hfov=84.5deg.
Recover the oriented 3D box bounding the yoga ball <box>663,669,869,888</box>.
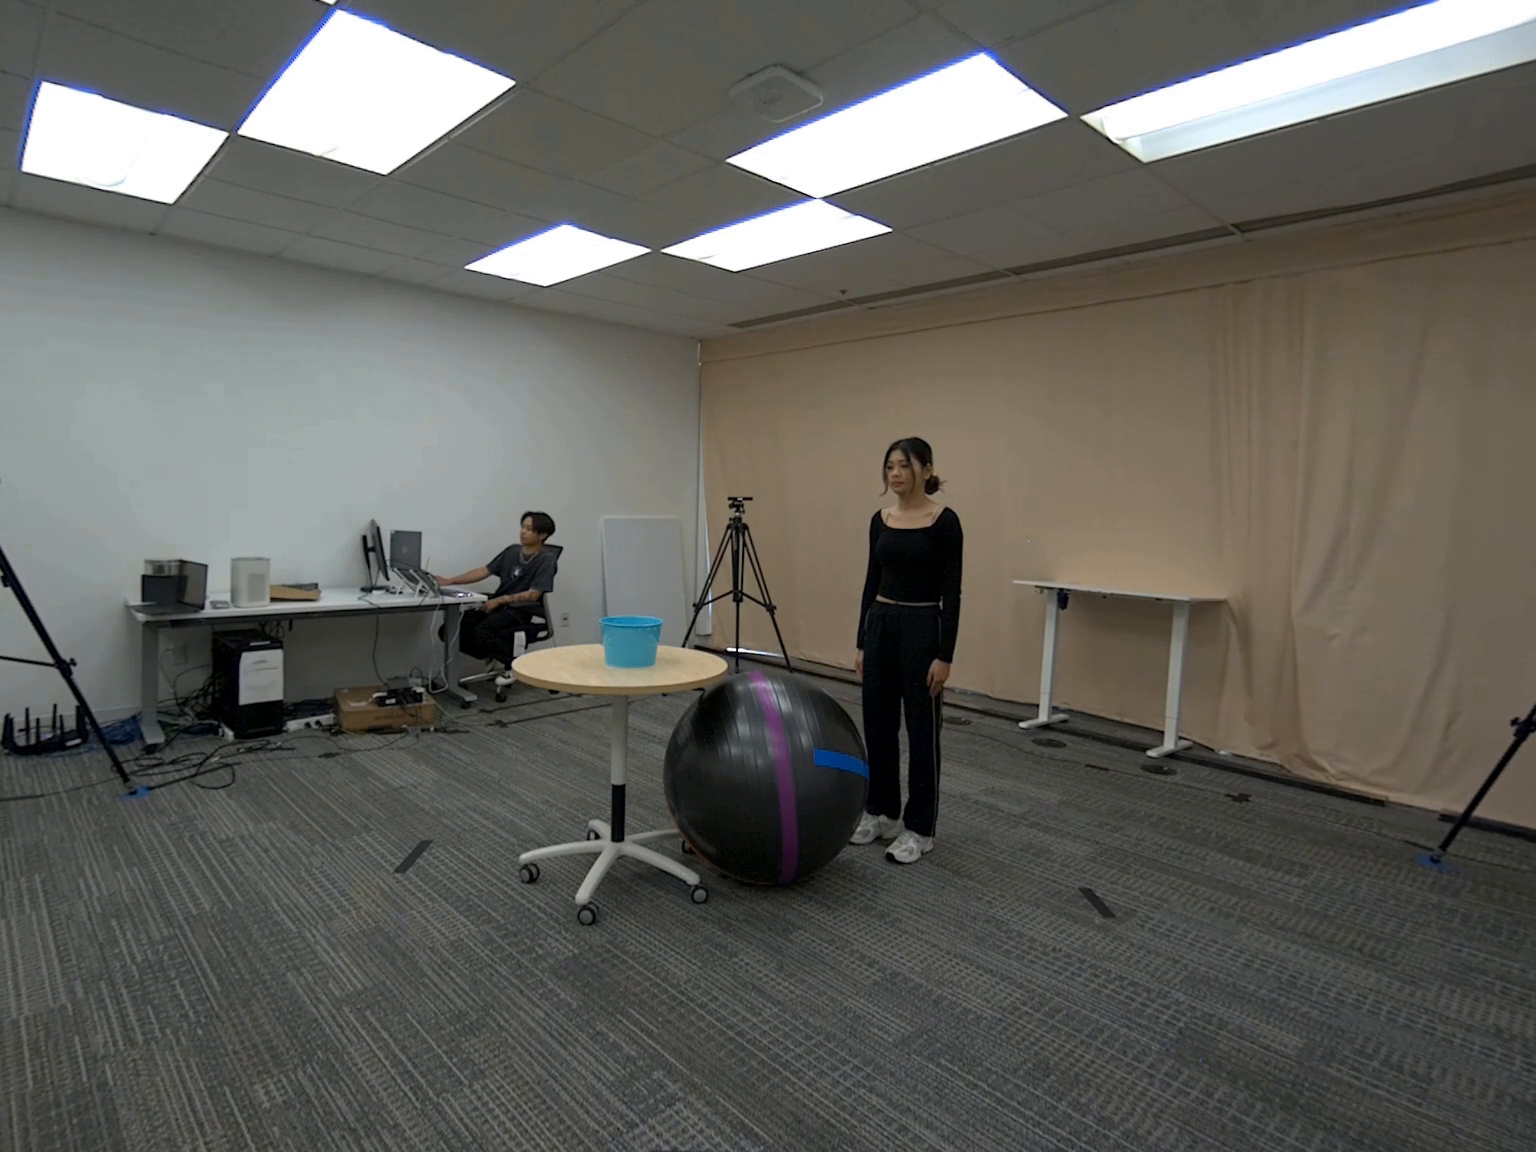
[{"bbox_3d":[-0.004,0.744,3.127,0.757,0.756,0.761,1,4,-1],"label":"yoga ball"}]
